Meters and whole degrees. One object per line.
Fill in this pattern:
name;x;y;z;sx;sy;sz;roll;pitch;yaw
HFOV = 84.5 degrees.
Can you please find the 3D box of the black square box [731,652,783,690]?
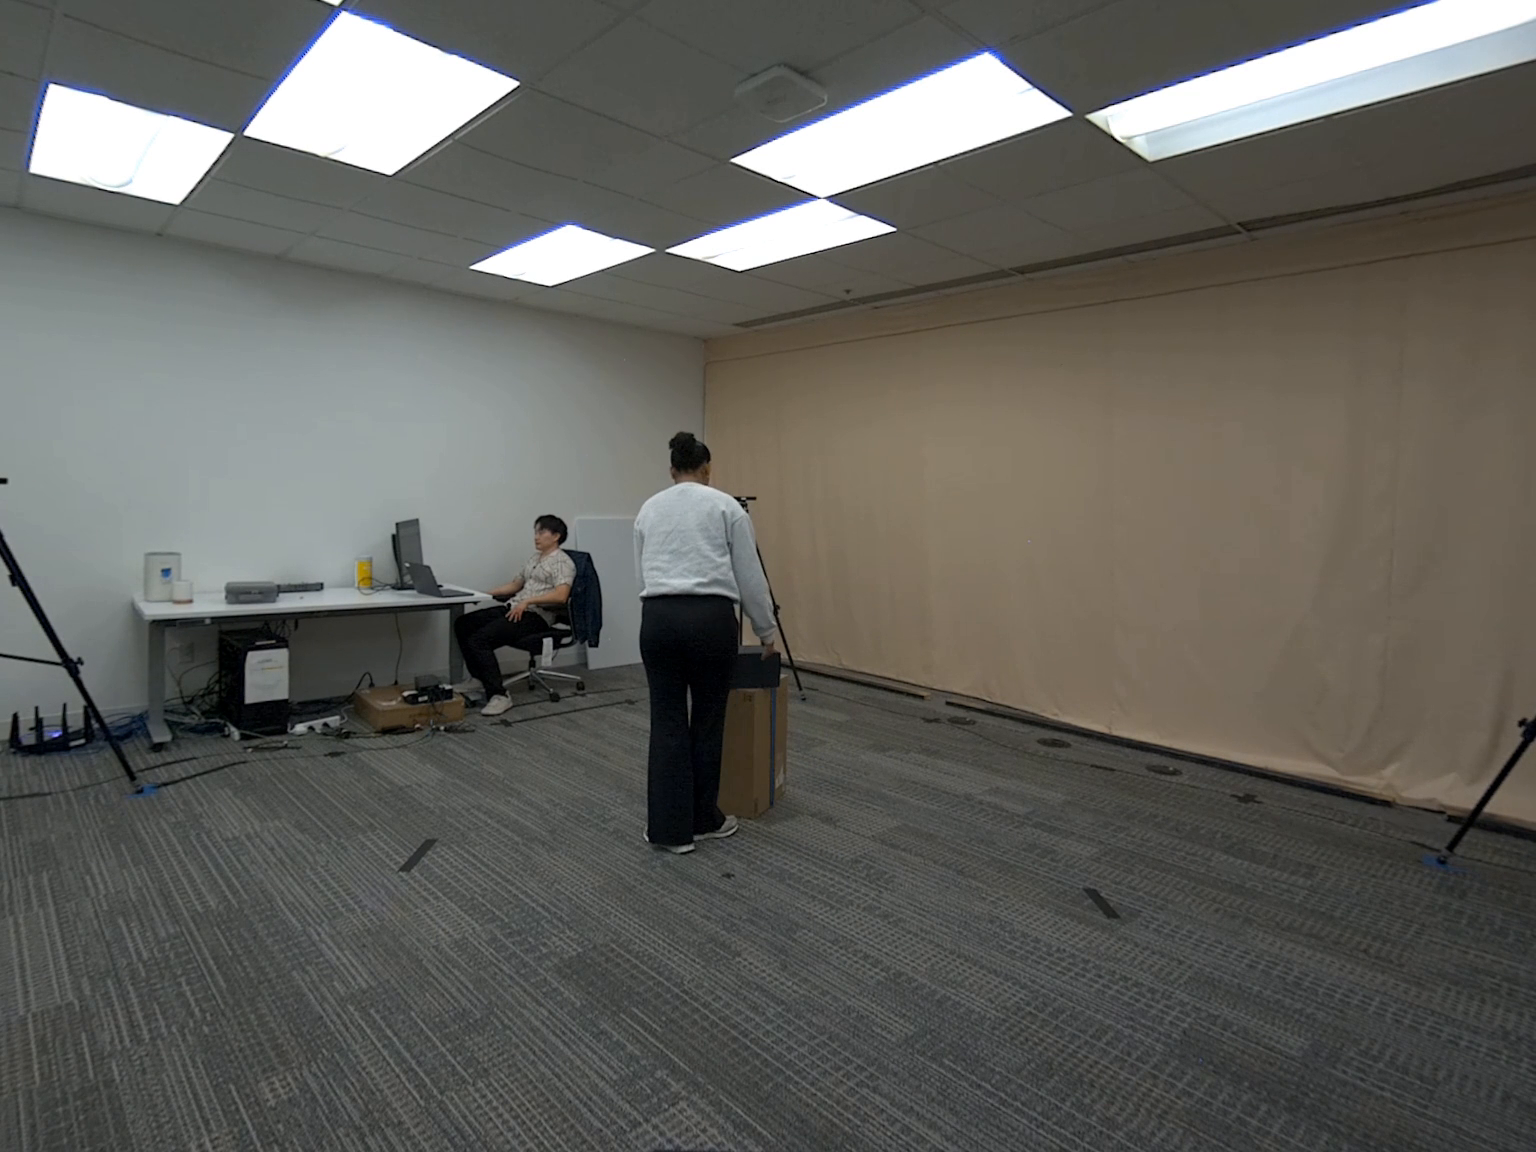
black square box;-0.093;0.402;3.776;0.225;0.155;0.220;0;5;-16
